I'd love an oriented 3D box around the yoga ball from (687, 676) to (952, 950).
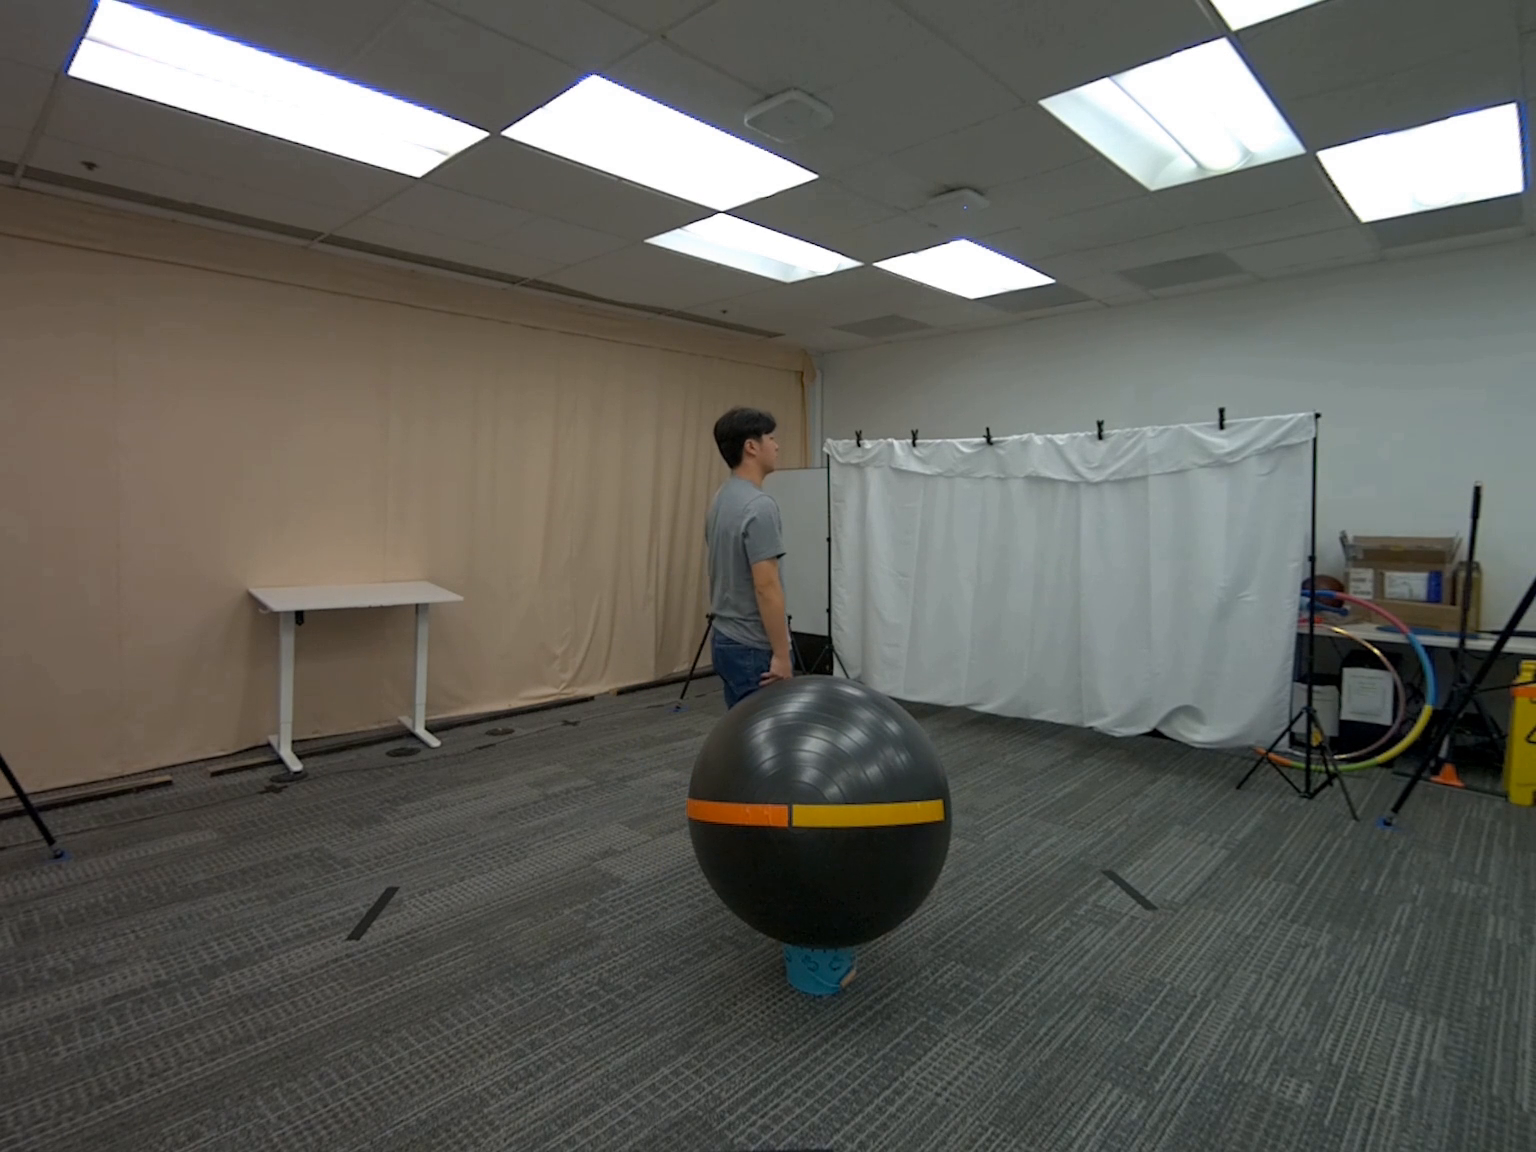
[{"bbox_3d":[0.153,0.683,2.449,0.757,0.756,0.760,0,4,-2],"label":"yoga ball"}]
